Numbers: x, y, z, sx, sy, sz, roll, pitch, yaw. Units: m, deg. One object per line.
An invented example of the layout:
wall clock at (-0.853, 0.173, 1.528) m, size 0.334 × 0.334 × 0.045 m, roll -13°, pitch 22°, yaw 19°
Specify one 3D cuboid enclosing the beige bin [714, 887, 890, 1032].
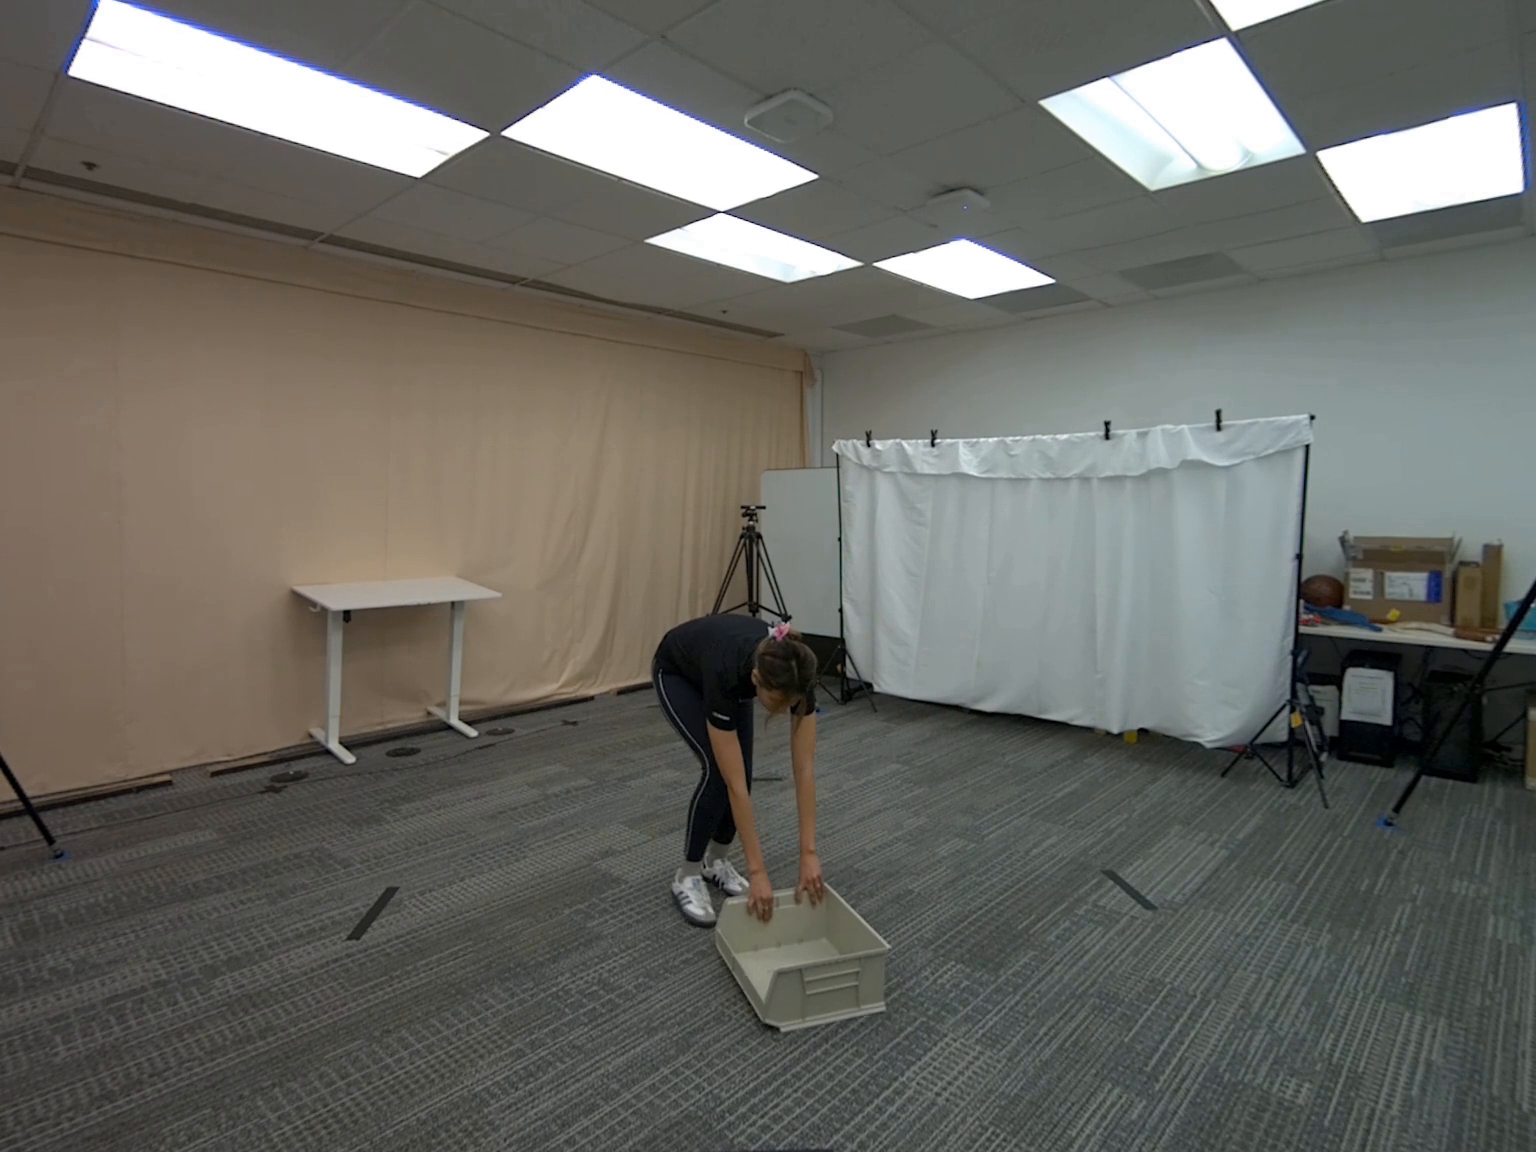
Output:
beige bin at (0.094, 1.101, 2.444) m, size 0.370 × 0.189 × 0.431 m, roll -1°, pitch 3°, yaw -20°
